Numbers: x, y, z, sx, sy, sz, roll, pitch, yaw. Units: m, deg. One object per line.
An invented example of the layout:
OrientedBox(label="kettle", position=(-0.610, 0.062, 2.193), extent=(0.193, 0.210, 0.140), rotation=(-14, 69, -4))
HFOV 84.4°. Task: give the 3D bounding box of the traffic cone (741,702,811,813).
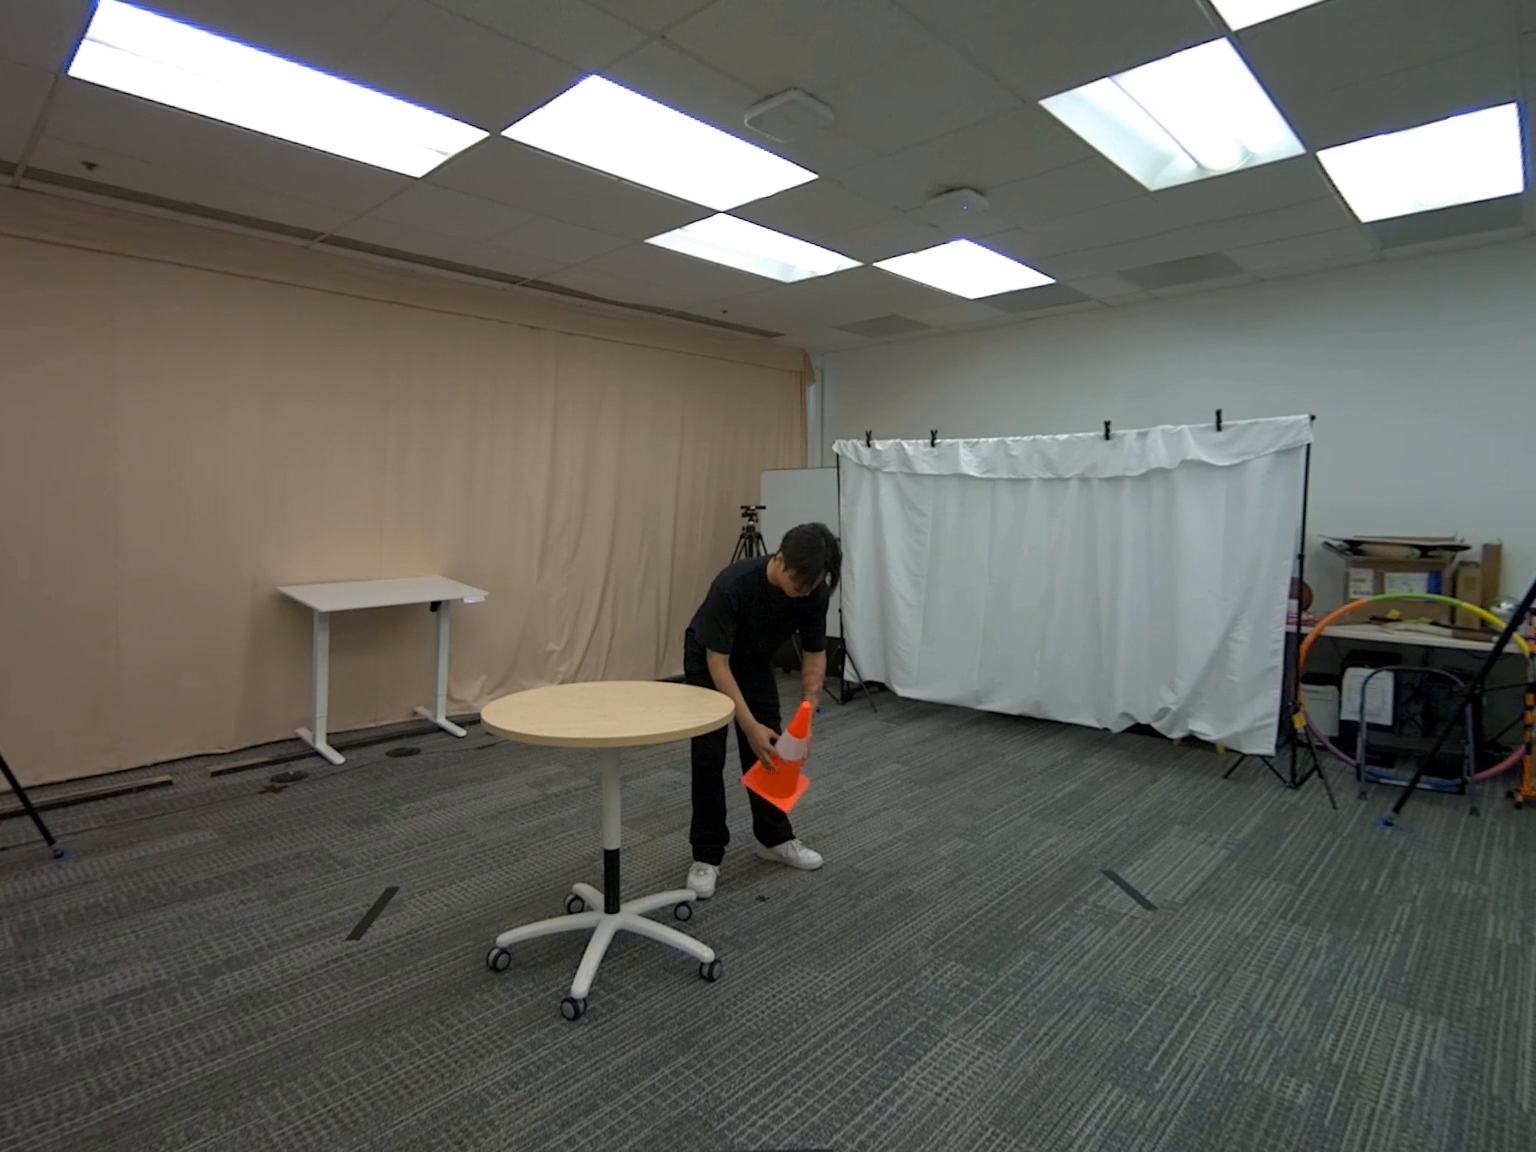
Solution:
OrientedBox(label="traffic cone", position=(0.083, 0.583, 2.917), extent=(0.210, 0.381, 0.200), rotation=(27, 29, 19))
